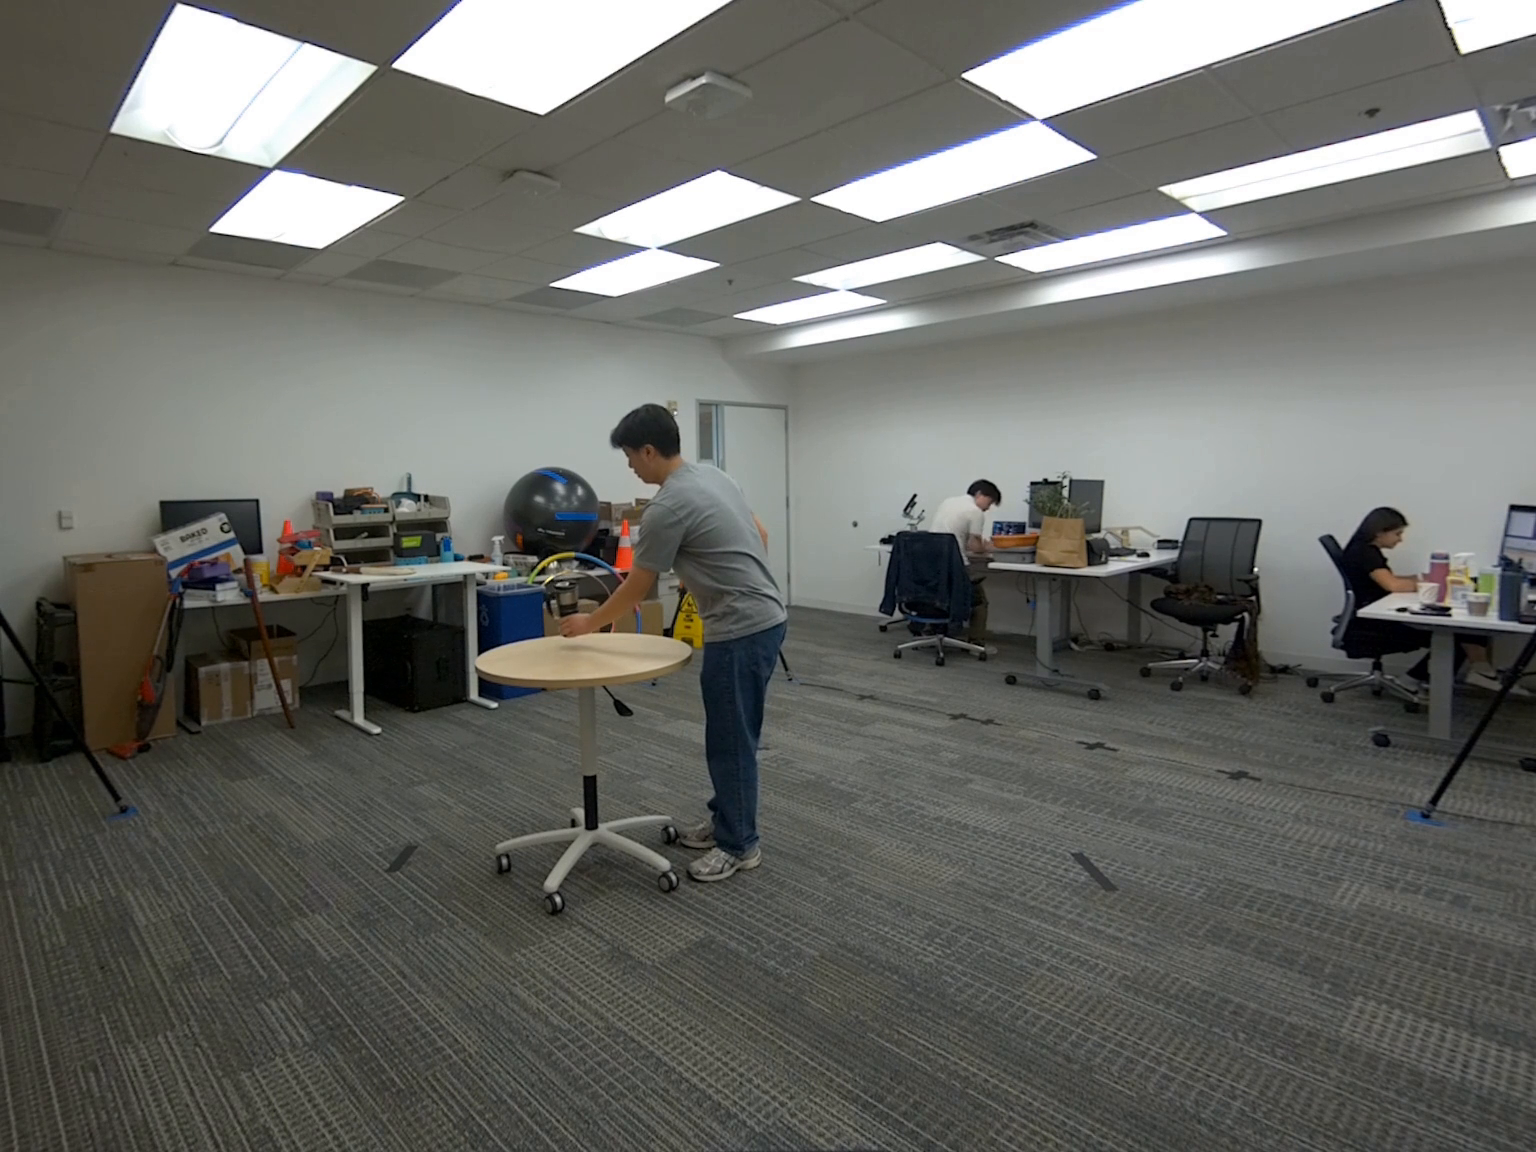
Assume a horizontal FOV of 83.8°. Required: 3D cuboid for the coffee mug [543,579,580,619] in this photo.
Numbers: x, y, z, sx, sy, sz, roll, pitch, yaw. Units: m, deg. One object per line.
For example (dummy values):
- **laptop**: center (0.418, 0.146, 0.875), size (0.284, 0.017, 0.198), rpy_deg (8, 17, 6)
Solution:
- **coffee mug**: center (-0.748, 0.128, 3.143), size (0.121, 0.200, 0.090), rpy_deg (-1, 16, -12)
